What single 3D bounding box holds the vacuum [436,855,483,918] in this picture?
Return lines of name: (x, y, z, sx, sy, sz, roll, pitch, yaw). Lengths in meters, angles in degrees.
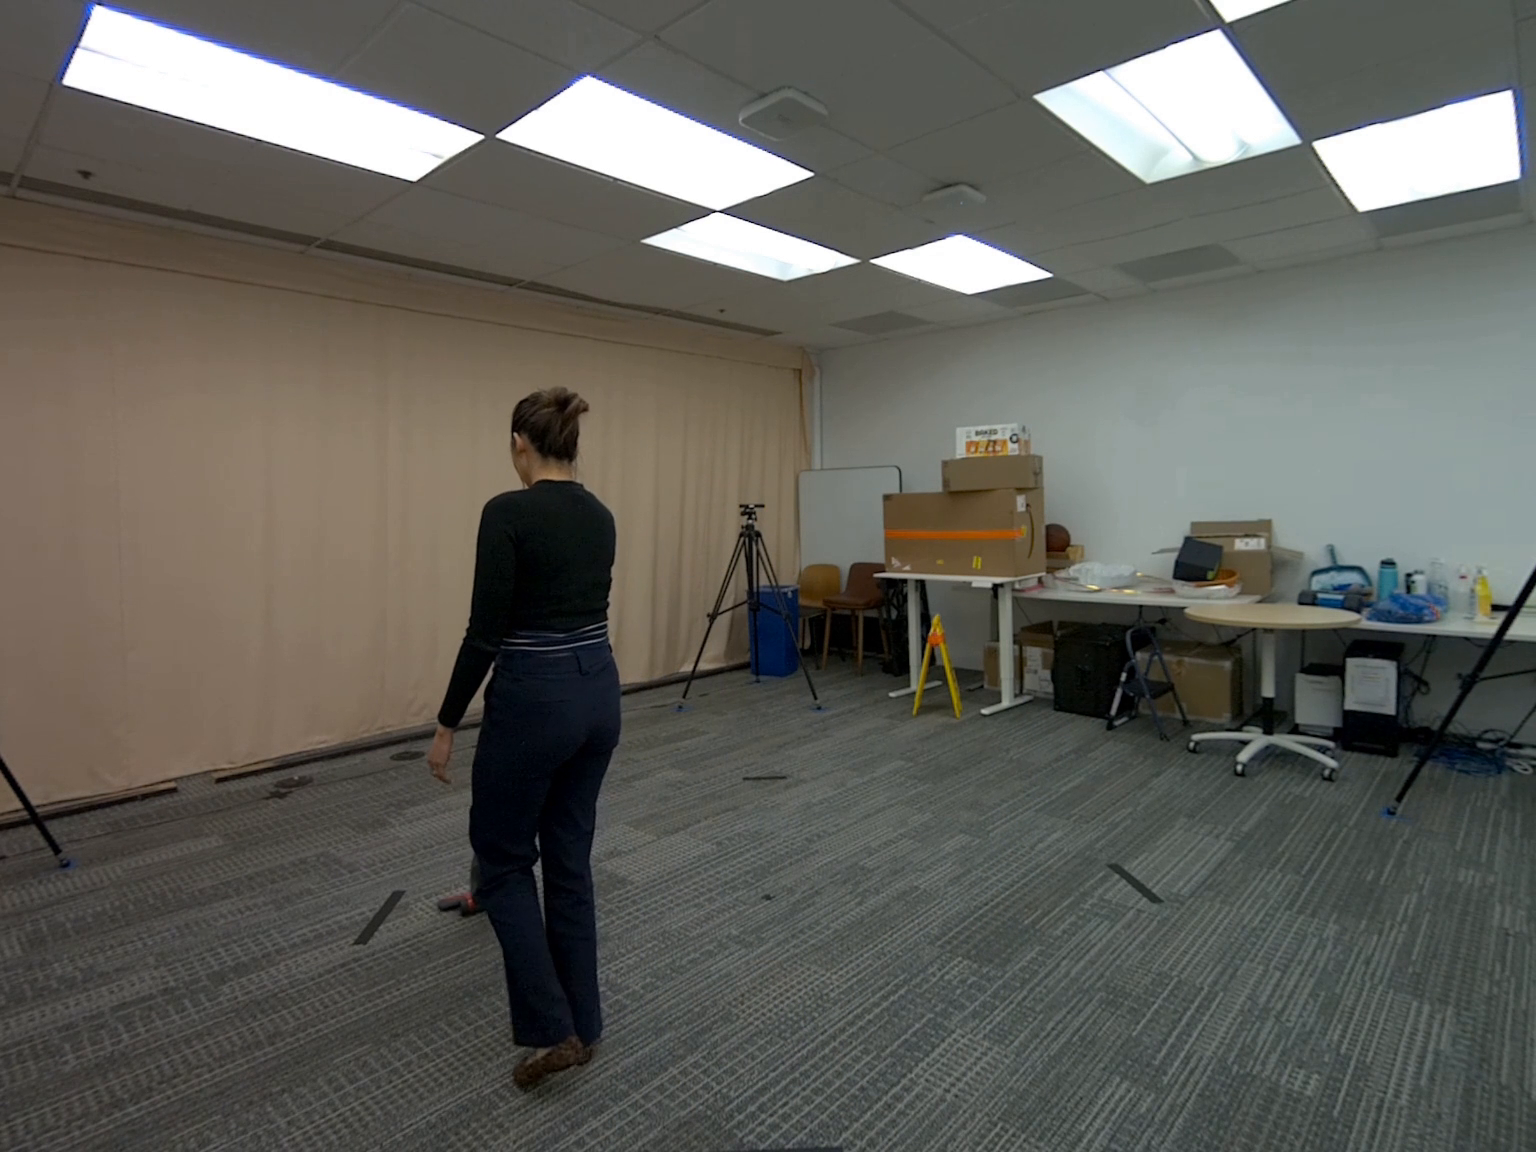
vacuum: (-0.866, 0.798, 2.645, 0.246, 1.045, 0.148, -10, 51, -35)
